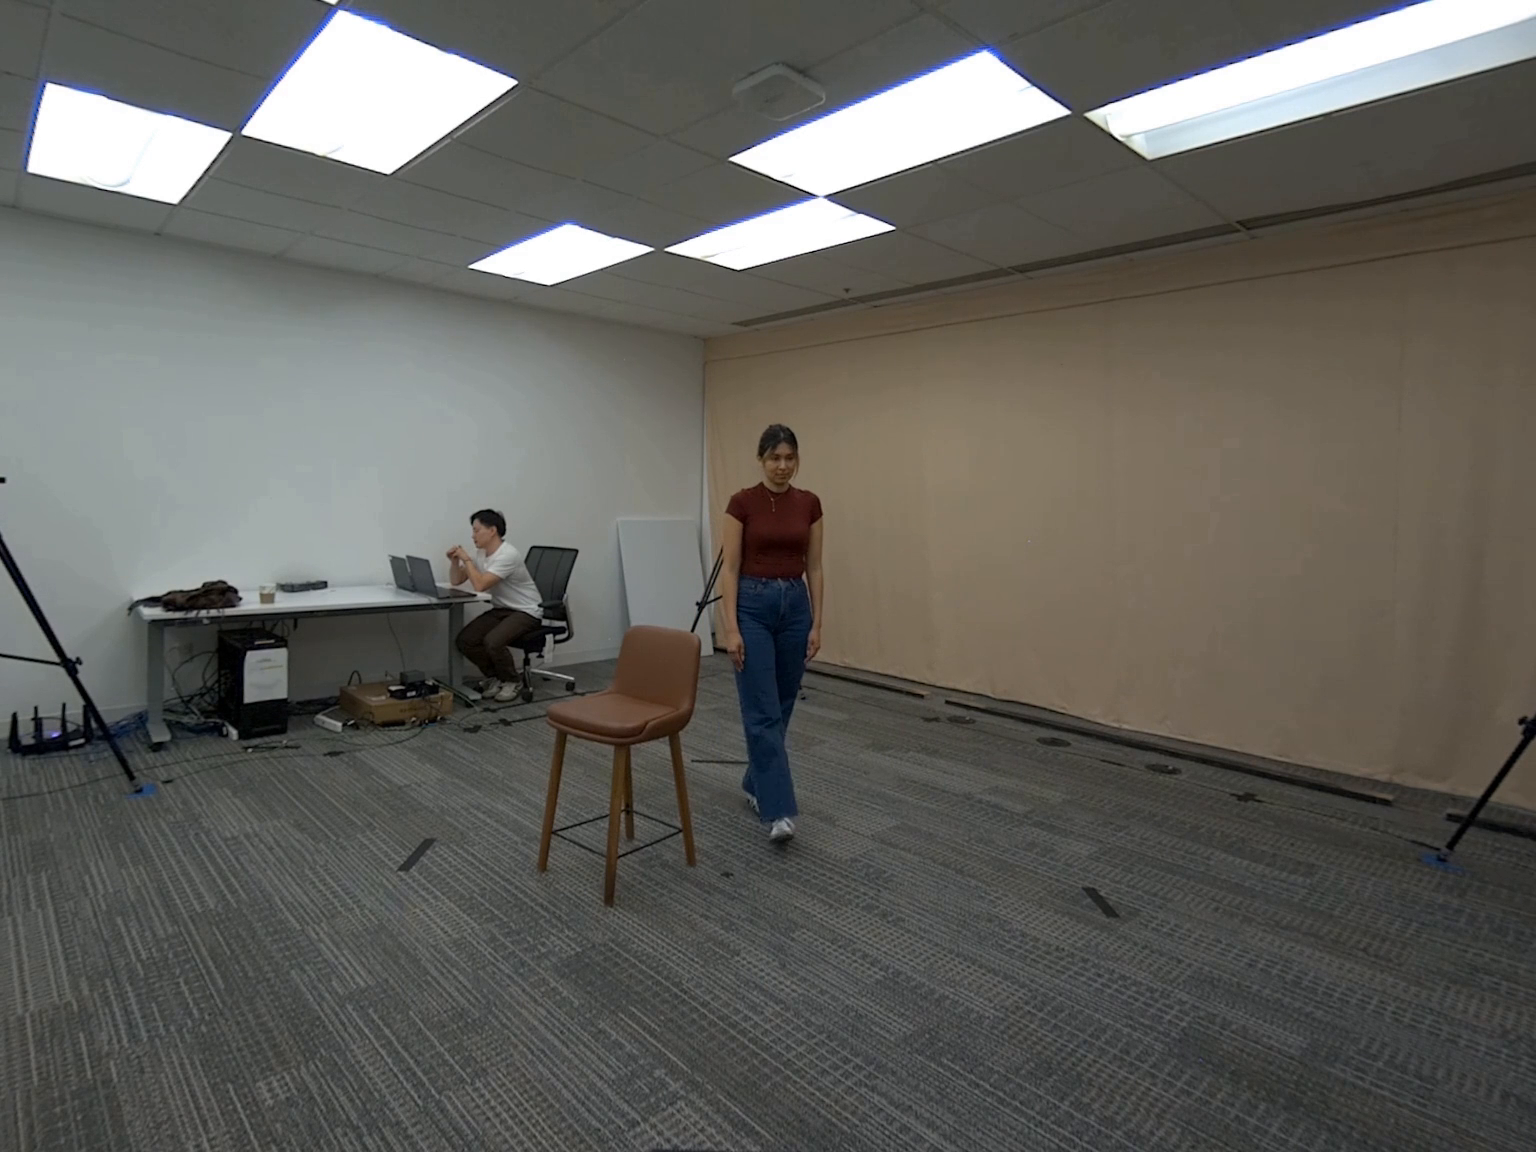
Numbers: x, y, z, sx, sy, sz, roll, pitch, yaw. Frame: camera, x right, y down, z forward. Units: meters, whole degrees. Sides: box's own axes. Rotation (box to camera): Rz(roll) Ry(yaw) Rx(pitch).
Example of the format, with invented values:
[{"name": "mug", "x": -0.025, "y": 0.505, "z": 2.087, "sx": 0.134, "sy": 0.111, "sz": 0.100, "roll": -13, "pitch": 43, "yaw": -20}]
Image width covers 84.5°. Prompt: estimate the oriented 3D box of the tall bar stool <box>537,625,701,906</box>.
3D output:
[{"name": "tall bar stool", "x": -0.547, "y": 0.658, "z": 3.114, "sx": 0.468, "sy": 0.888, "sz": 0.456, "roll": 4, "pitch": 3, "yaw": 41}]
